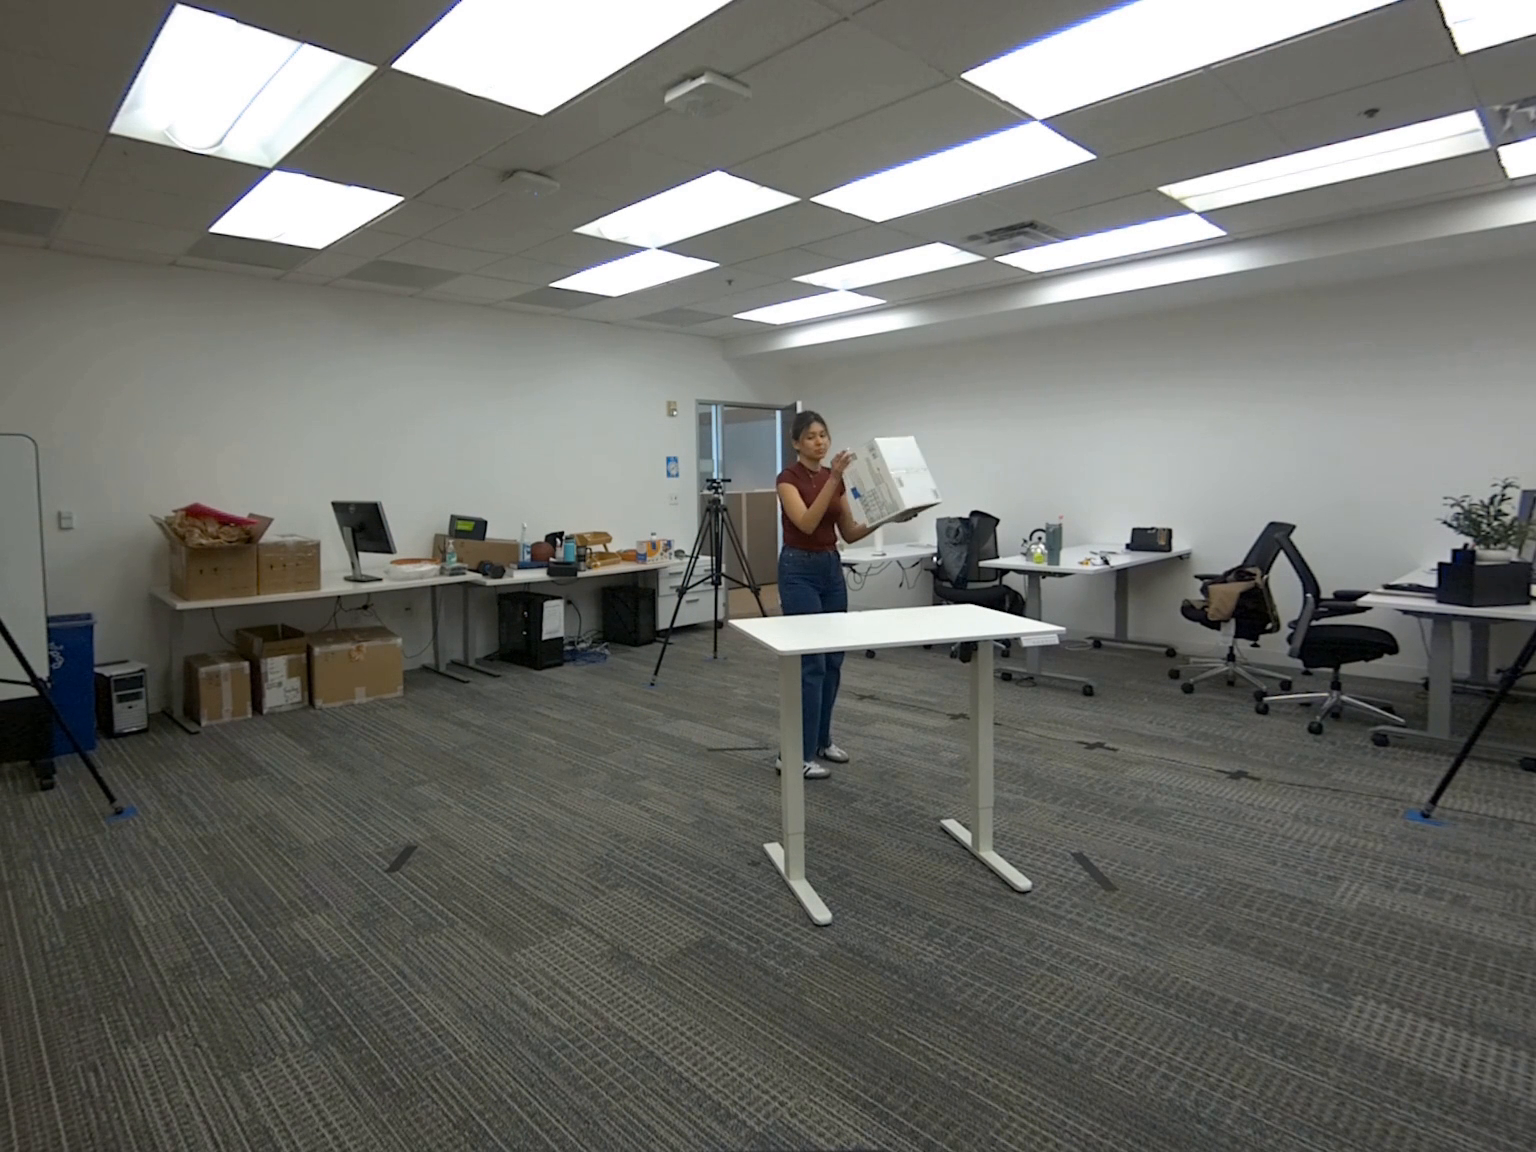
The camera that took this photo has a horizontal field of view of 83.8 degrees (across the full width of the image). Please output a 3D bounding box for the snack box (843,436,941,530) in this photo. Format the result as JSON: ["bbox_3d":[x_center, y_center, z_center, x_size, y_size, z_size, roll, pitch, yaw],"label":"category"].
[{"bbox_3d":[0.545,-0.429,3.838,0.208,0.343,0.397,-28,-8,35],"label":"snack box"}]
